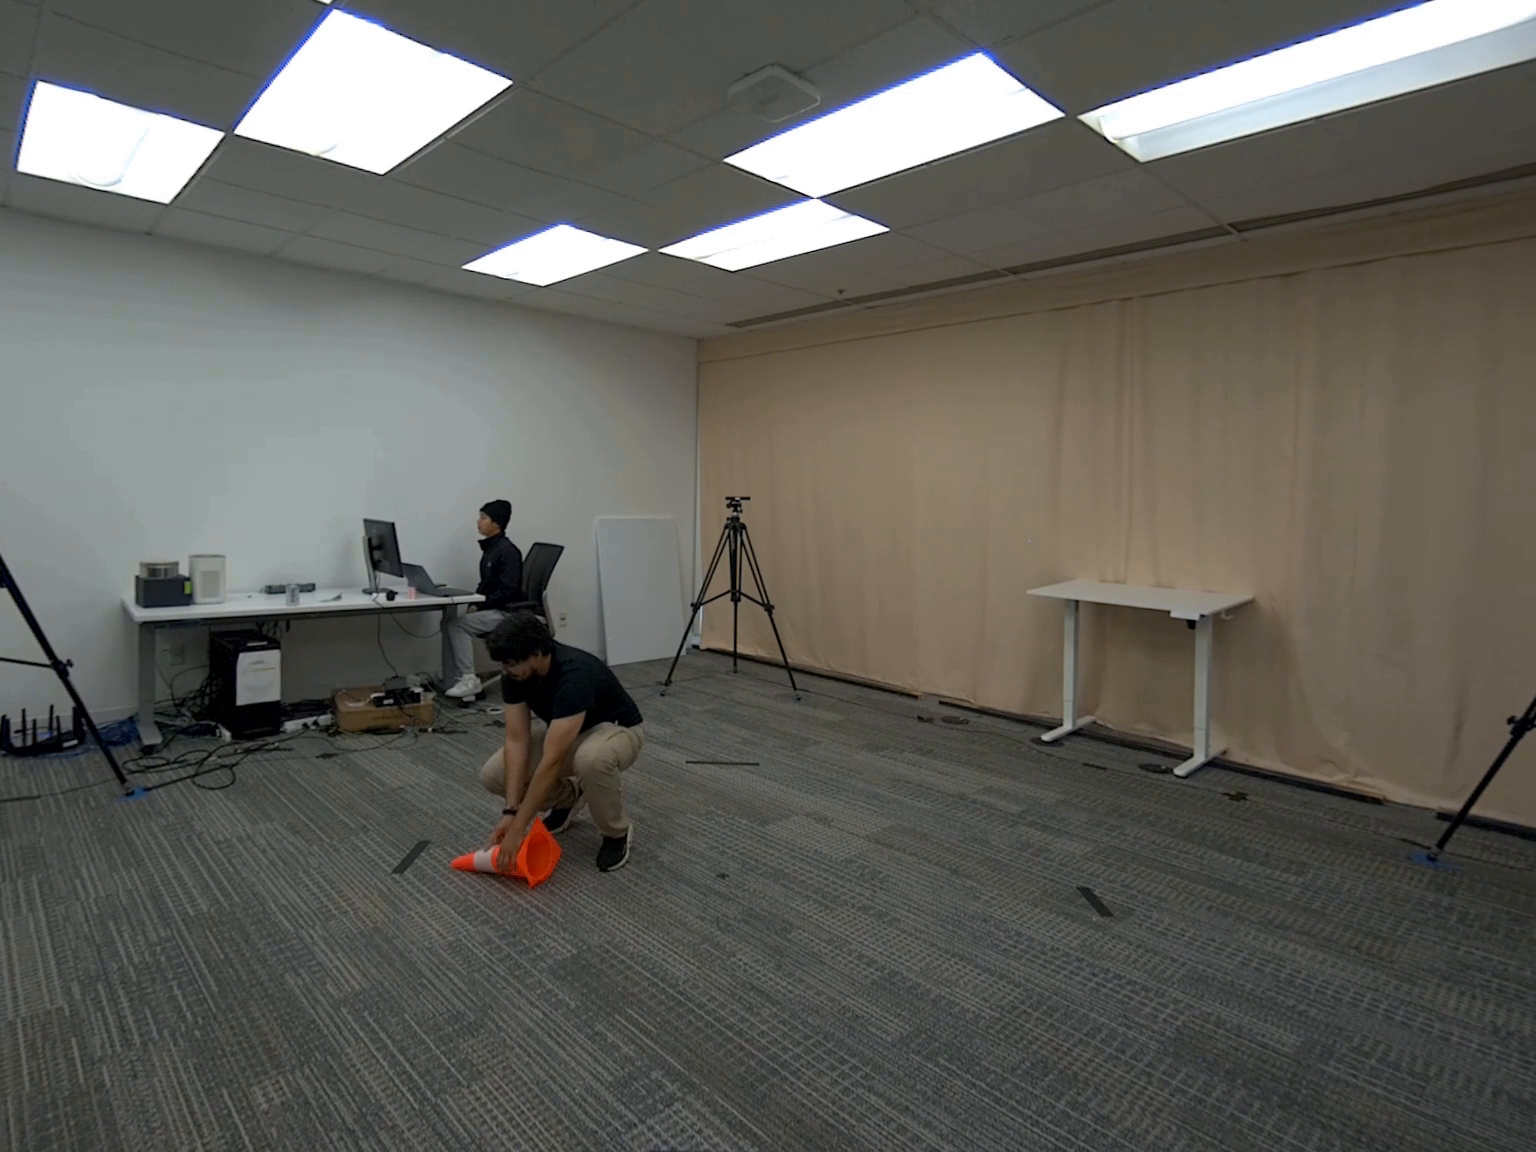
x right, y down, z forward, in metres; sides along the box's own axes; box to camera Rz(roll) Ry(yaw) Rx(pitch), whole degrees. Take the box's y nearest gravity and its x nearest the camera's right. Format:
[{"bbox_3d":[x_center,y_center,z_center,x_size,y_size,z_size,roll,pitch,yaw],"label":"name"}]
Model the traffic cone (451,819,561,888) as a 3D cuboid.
[{"bbox_3d":[-1.016,1.044,3.067,0.388,0.200,0.205,-12,26,19],"label":"traffic cone"}]
